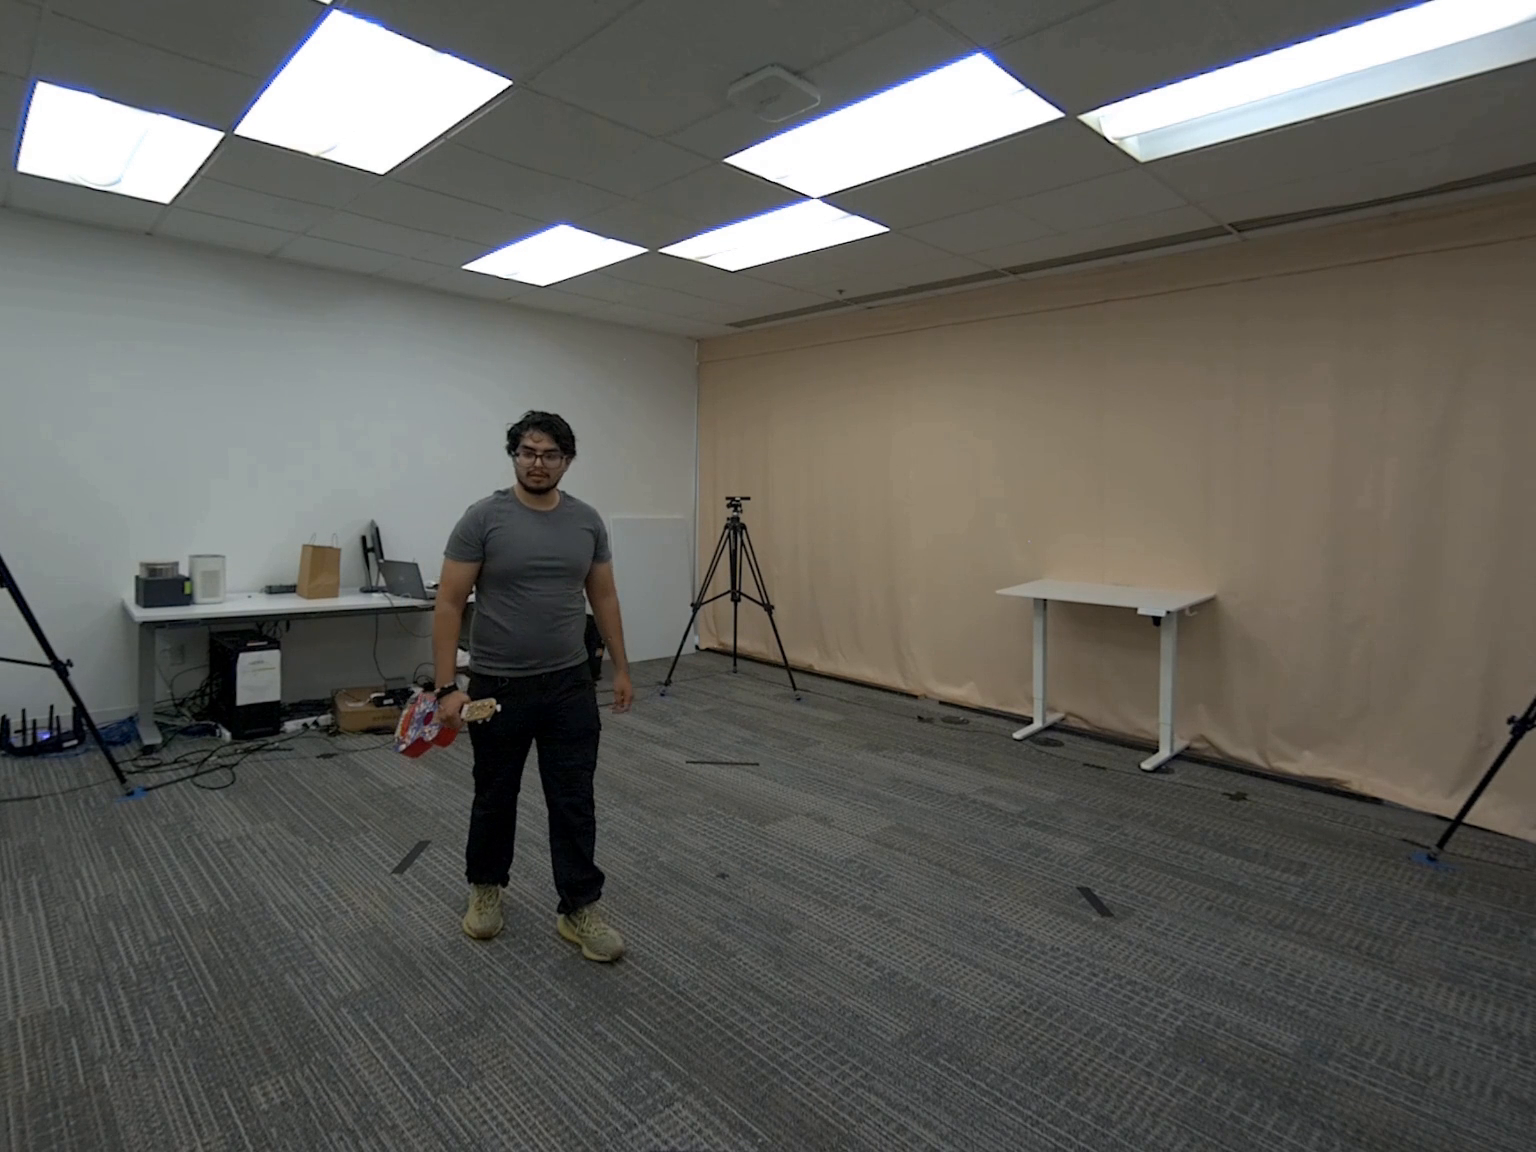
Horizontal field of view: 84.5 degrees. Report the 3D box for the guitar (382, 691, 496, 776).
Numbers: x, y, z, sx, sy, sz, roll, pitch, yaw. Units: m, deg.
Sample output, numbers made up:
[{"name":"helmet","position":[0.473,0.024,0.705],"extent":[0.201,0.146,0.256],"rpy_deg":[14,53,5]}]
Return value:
[{"name":"guitar","position":[-0.943,0.451,2.462],"extent":[0.509,0.195,0.068],"rpy_deg":[-4,-30,43]}]
